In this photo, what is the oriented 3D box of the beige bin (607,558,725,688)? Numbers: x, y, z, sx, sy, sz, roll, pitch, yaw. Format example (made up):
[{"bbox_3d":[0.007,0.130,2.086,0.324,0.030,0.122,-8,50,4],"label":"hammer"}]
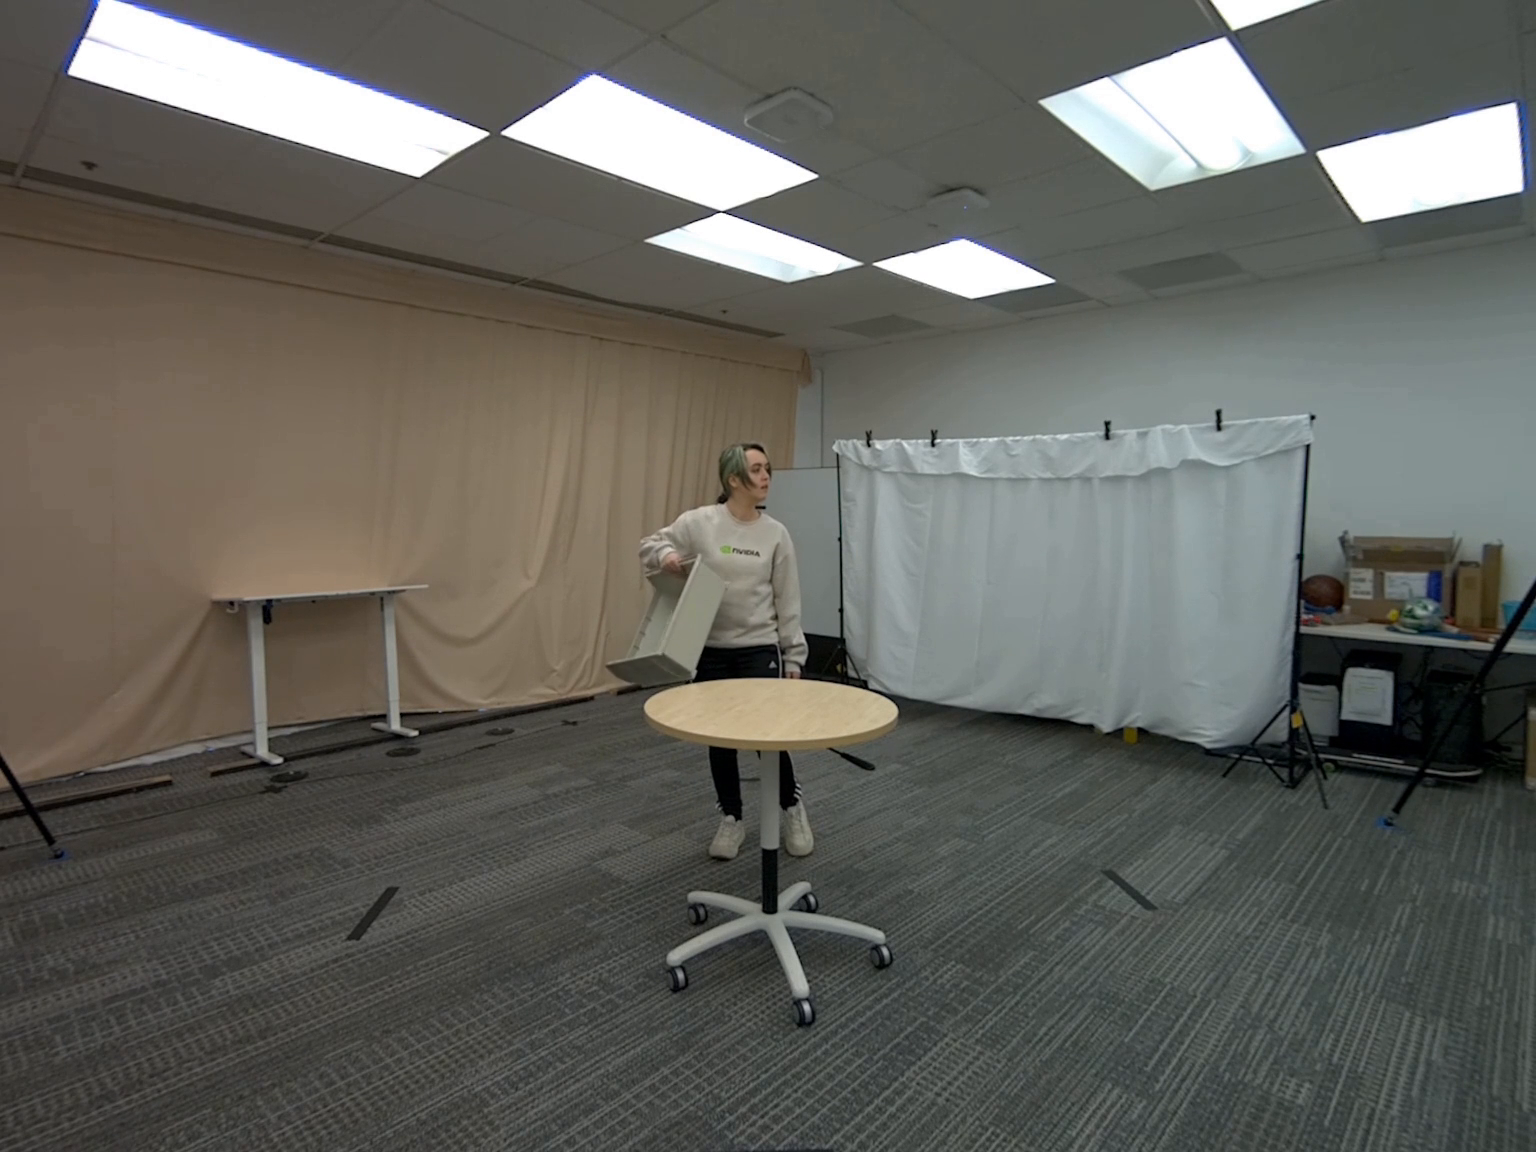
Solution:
[{"bbox_3d":[-0.375,0.175,3.128,0.183,0.424,0.387,38,-34,-29],"label":"beige bin"}]
